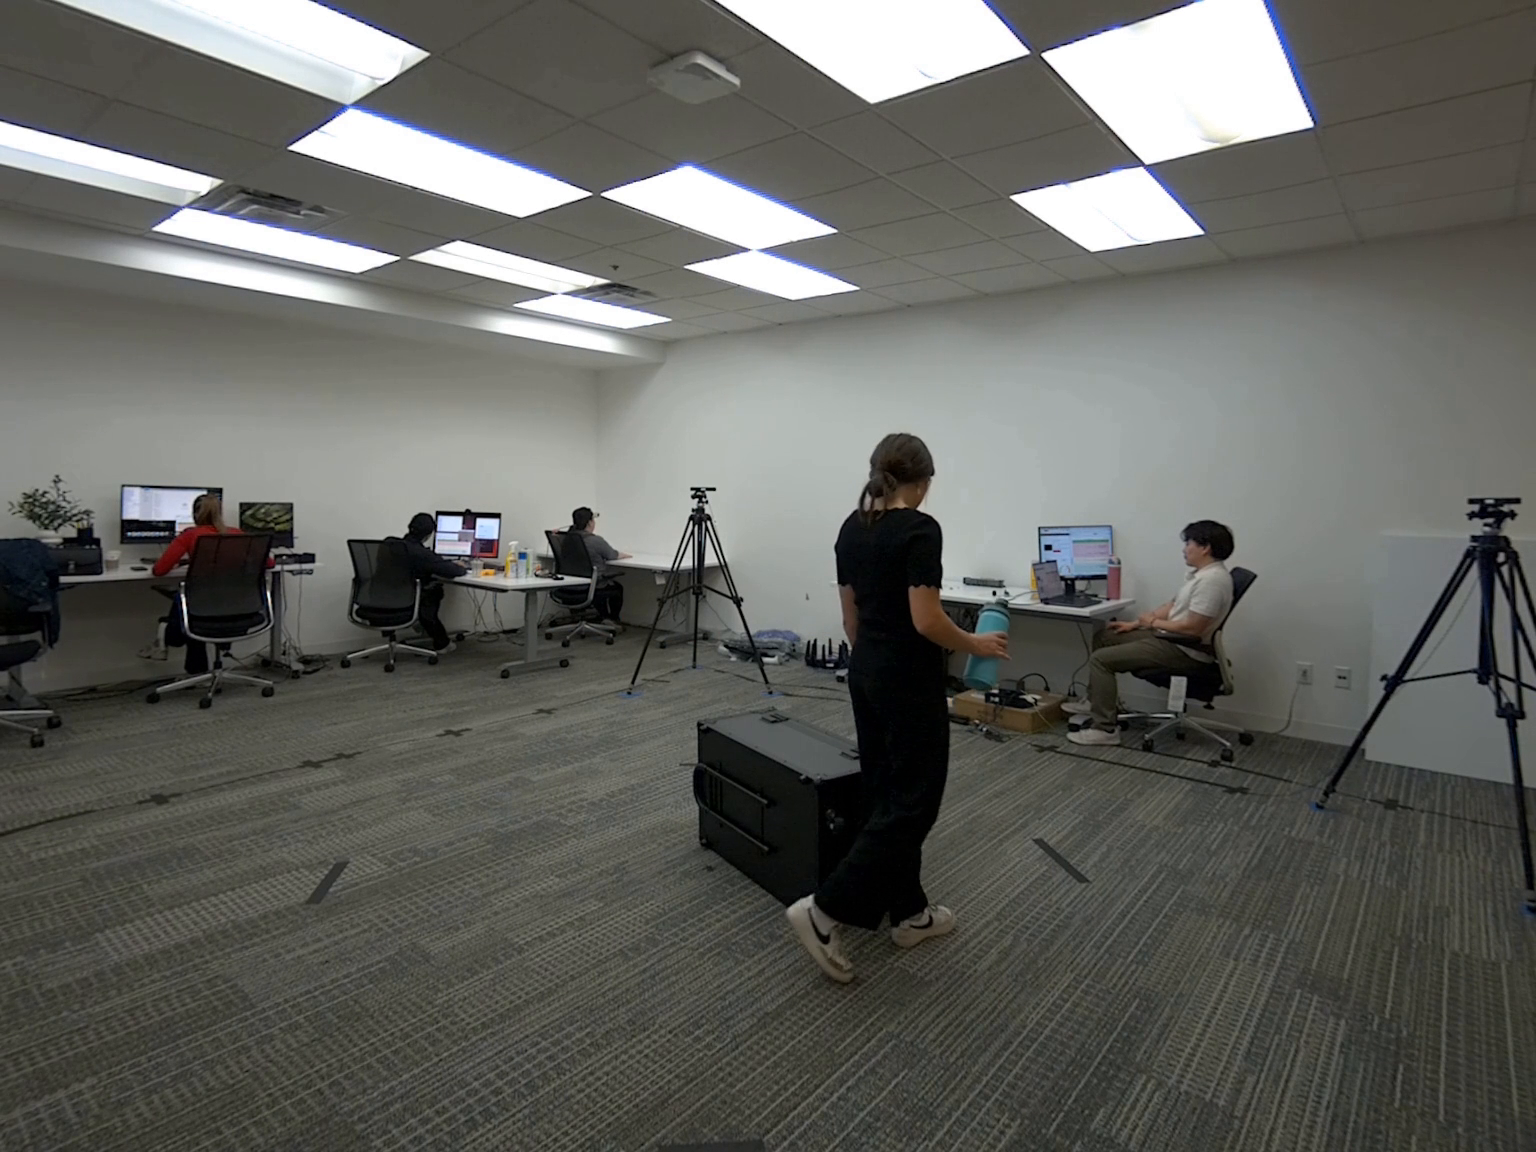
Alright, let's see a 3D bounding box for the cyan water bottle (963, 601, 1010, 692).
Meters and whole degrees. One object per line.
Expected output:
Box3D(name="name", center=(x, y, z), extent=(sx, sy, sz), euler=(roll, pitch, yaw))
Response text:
Box3D(name="cyan water bottle", center=(0.650, 0.203, 2.545), extent=(0.093, 0.287, 0.090), euler=(17, -24, 6))
